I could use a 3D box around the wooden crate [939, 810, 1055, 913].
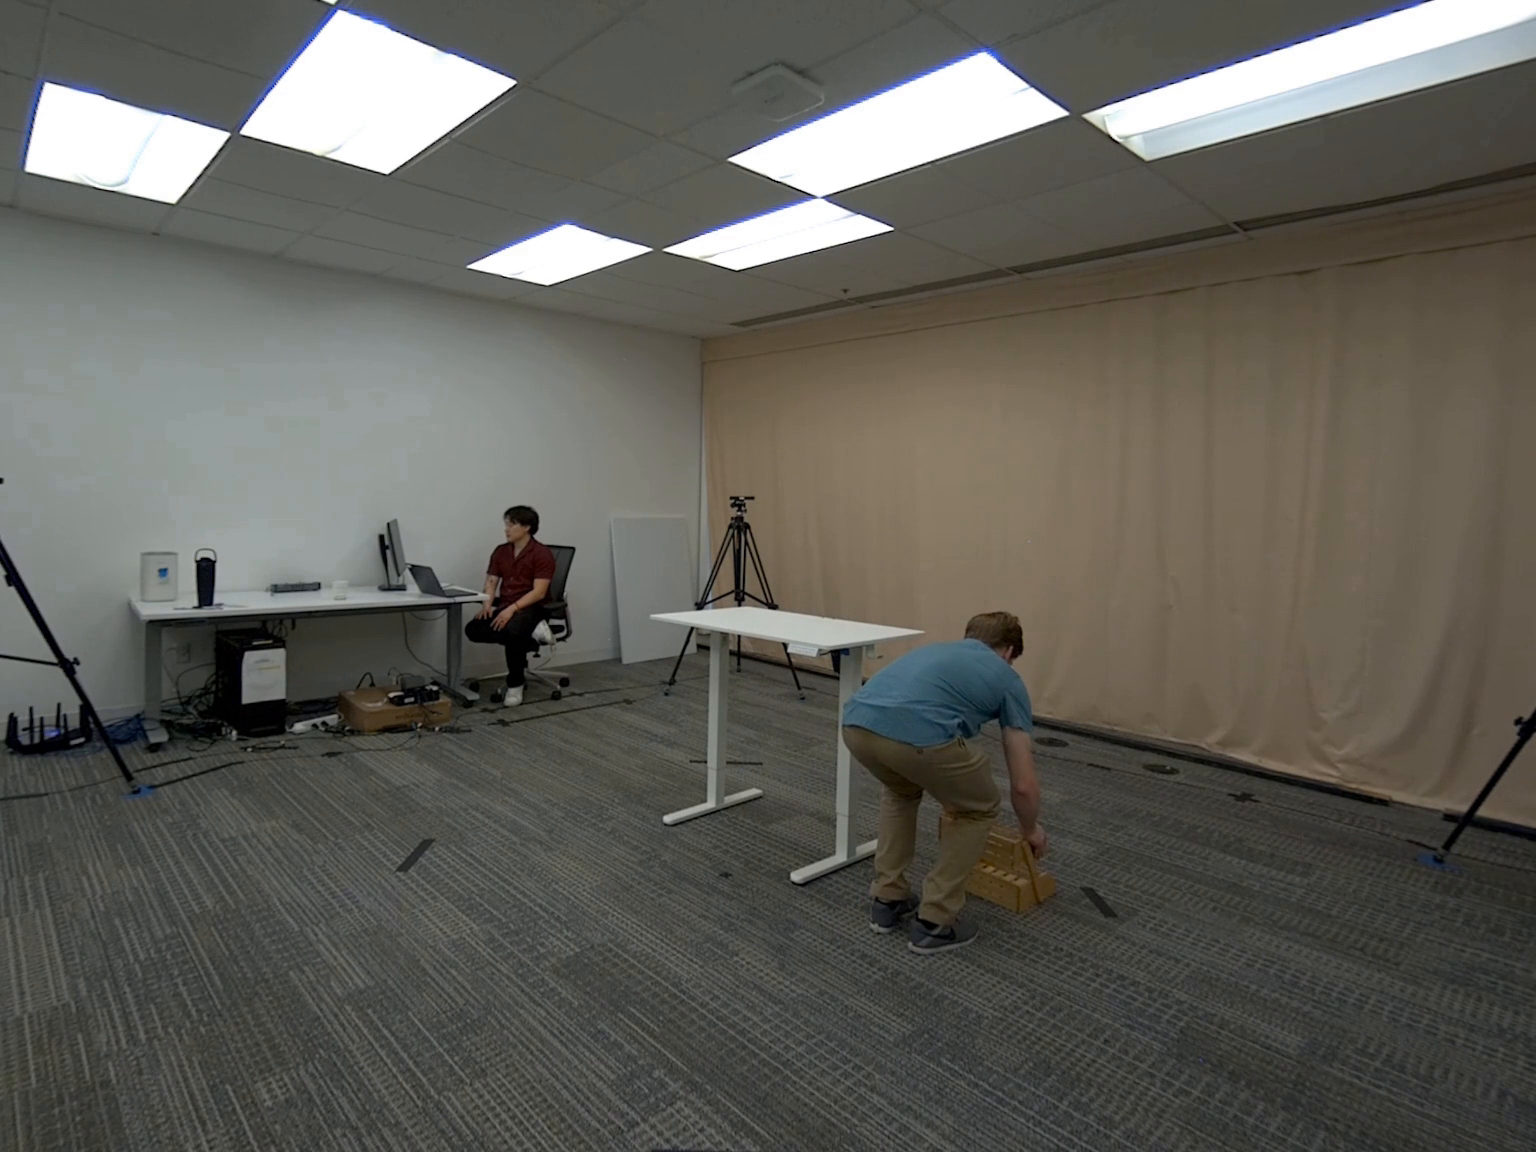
[{"bbox_3d":[0.826,1.001,3.046,0.295,0.272,0.333,-2,5,-42],"label":"wooden crate"}]
